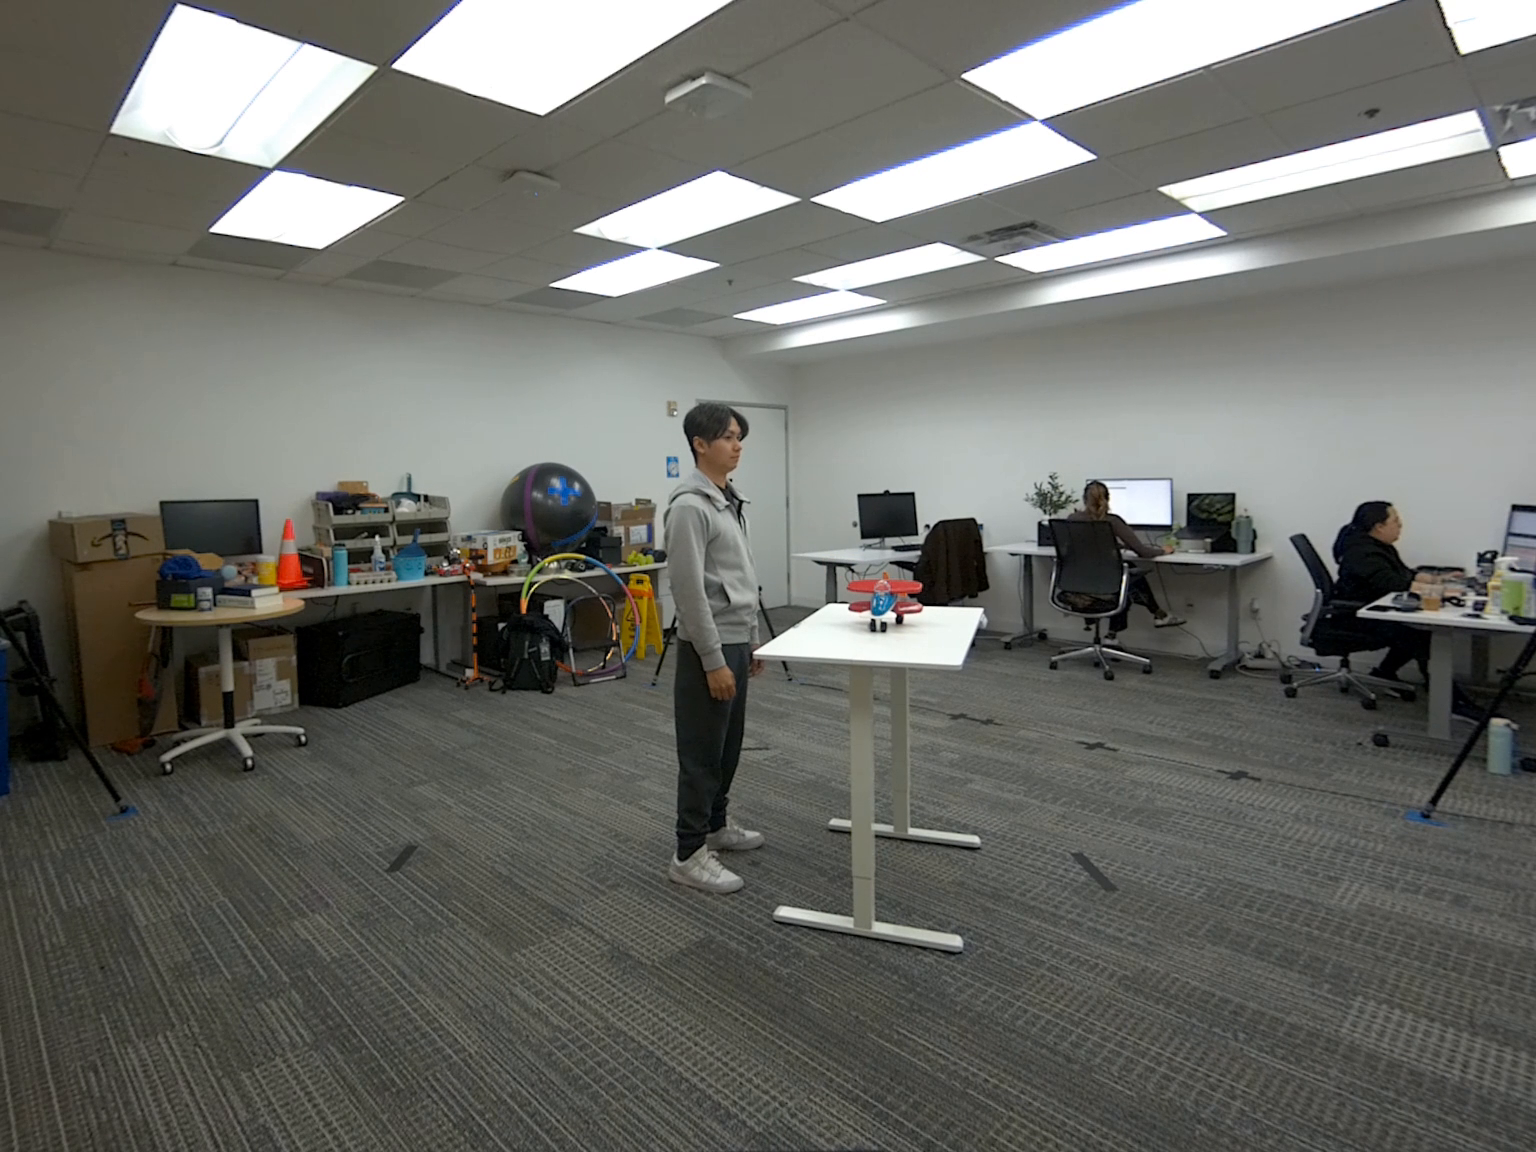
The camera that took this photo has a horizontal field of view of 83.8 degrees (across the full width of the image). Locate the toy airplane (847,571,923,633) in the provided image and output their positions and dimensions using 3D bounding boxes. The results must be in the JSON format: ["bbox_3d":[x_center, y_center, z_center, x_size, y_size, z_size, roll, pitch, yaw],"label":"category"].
[{"bbox_3d":[0.416,0.101,2.911,0.249,0.156,0.263,-2,6,-10],"label":"toy airplane"}]
